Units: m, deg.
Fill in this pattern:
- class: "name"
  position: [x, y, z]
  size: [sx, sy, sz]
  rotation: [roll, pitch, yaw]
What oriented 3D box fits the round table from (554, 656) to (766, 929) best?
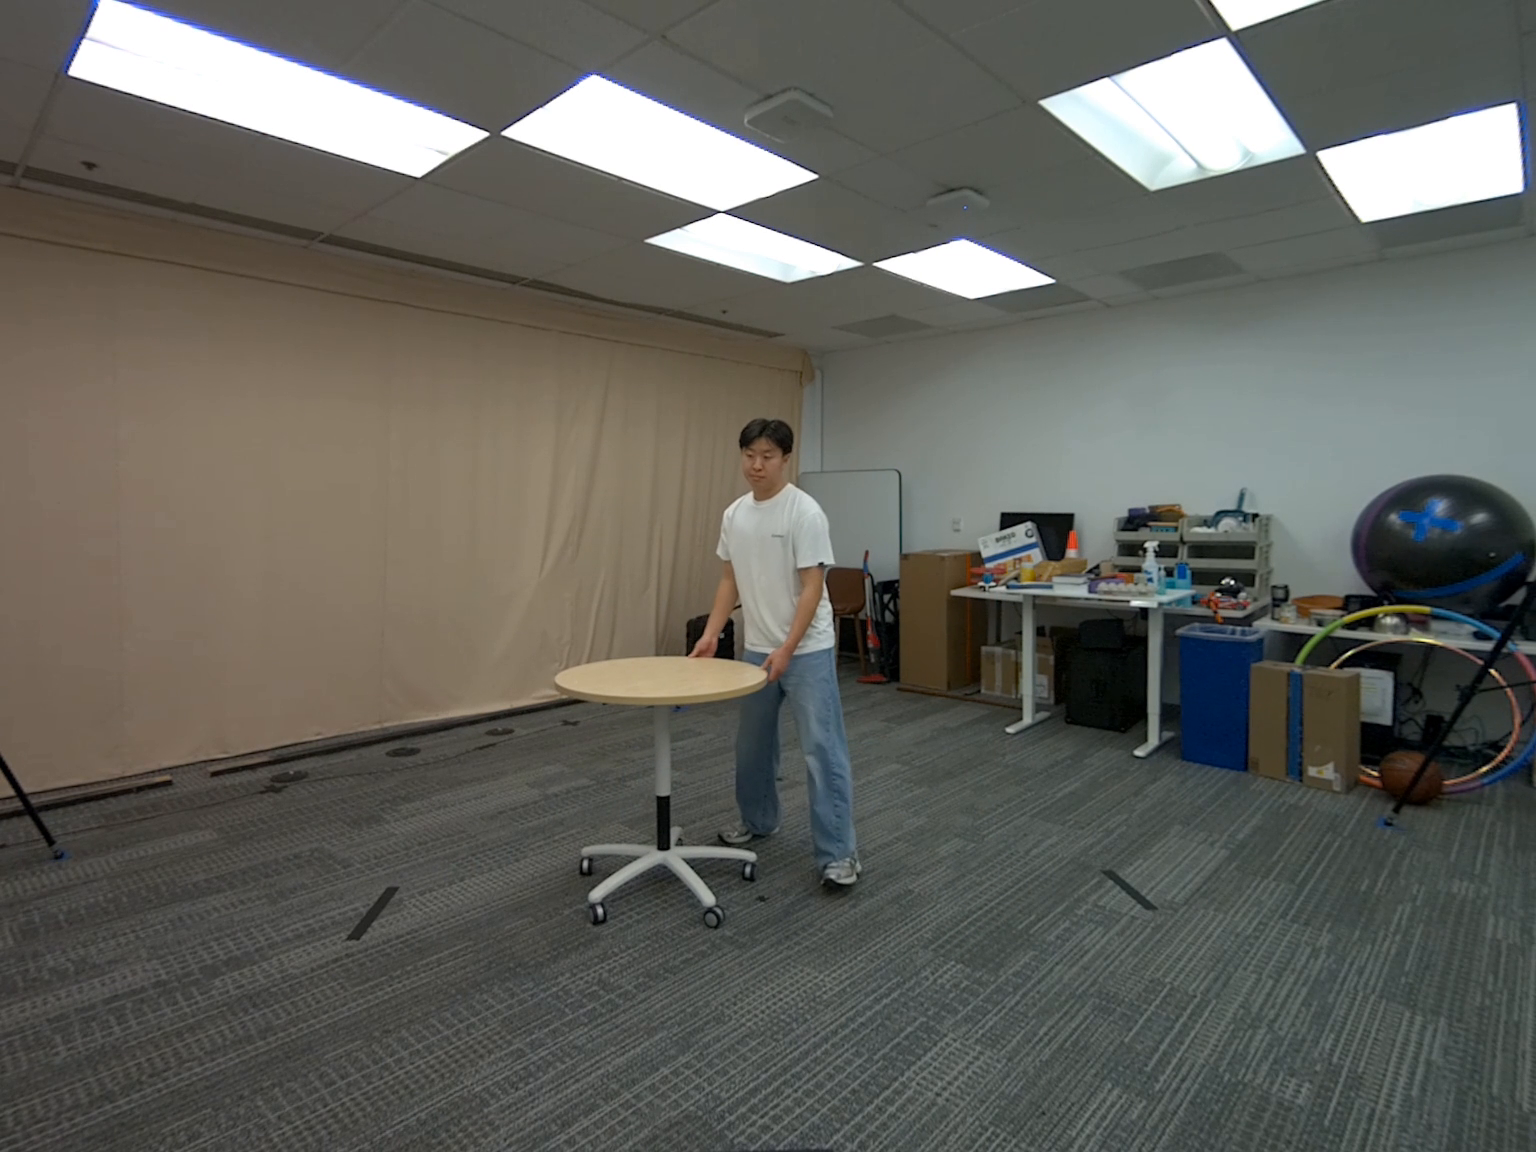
- class: "round table"
  position: [-0.377, 0.751, 3.066]
  size: [0.763, 0.792, 0.766]
  rotation: [-1, 3, -2]
